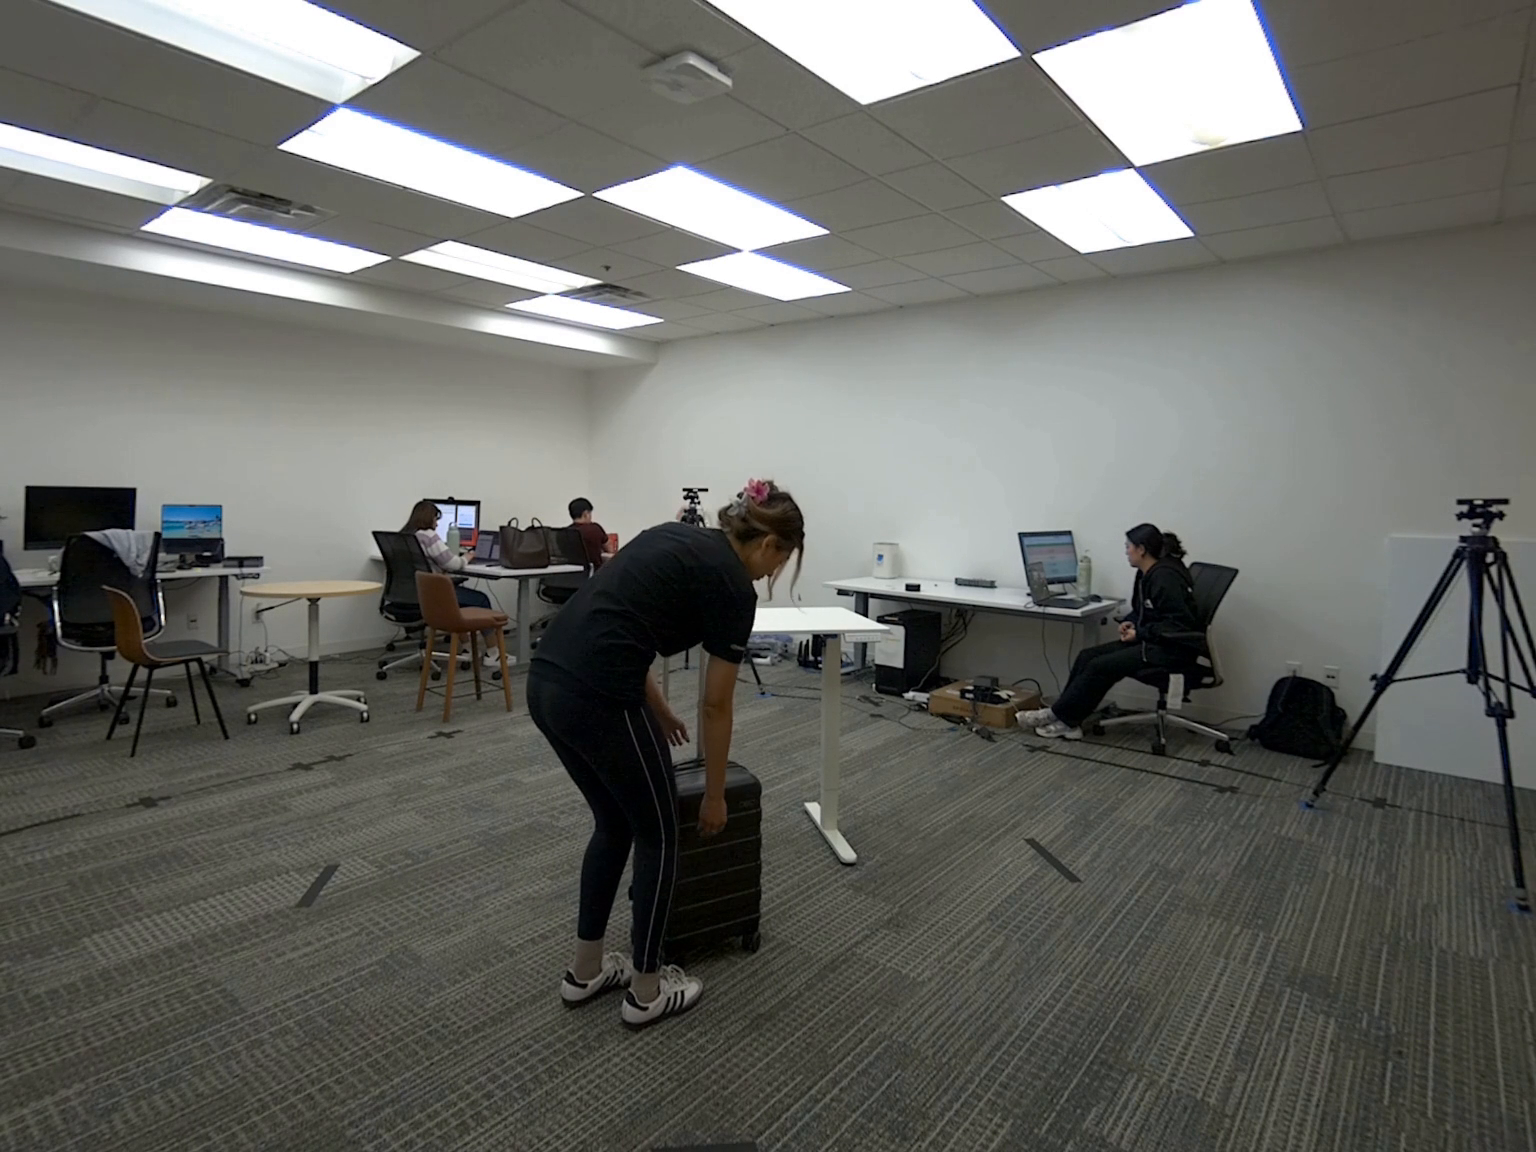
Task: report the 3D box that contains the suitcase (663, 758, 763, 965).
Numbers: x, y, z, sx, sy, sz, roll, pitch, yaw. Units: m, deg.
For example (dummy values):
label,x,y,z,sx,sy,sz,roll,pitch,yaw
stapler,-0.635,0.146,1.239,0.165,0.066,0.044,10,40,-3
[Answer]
label,x,y,z,sx,sy,sz,roll,pitch,yaw
suitcase,-0.207,0.647,2.580,0.374,0.975,0.265,0,5,-30
